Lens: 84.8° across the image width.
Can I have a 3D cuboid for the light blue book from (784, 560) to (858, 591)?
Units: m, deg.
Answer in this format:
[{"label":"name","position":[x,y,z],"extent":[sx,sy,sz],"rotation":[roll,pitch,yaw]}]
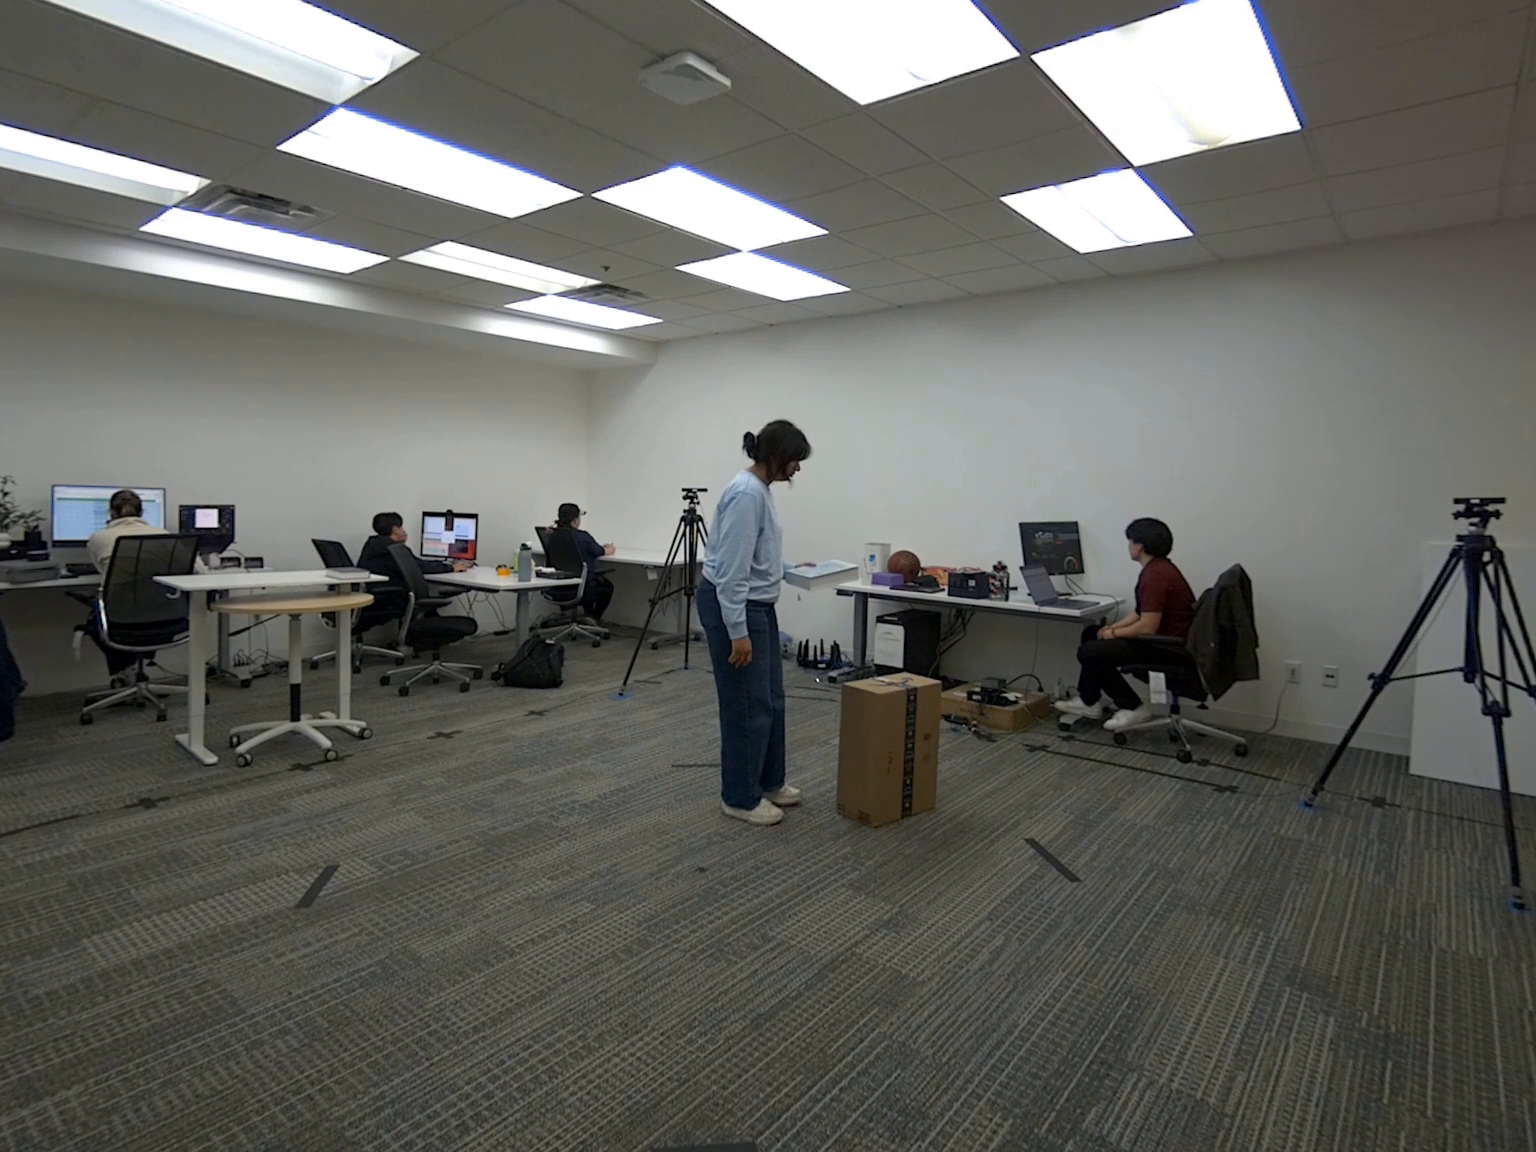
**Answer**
[{"label":"light blue book","position":[0.227,-0.005,3.670],"extent":[0.255,0.058,0.198],"rotation":[-13,17,-29]}]
